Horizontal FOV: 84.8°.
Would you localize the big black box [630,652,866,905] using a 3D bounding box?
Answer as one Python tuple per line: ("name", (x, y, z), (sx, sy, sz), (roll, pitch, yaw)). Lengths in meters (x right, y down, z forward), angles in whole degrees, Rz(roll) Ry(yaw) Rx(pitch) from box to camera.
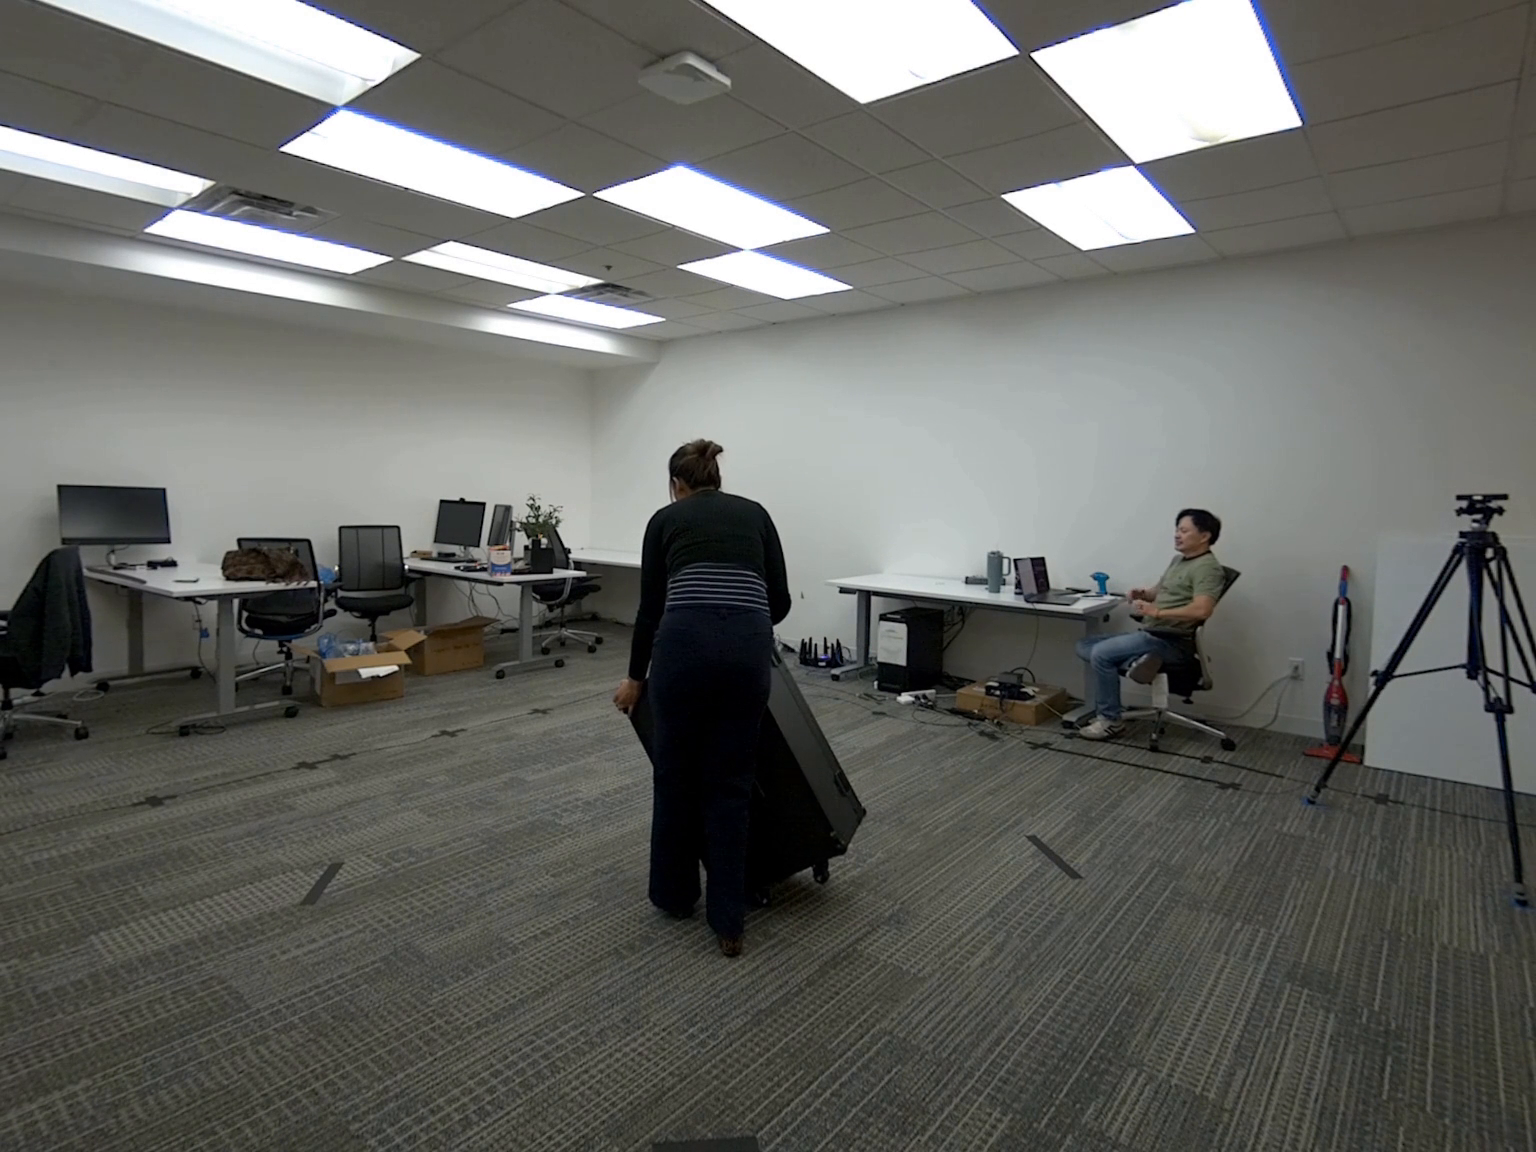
("big black box", (-0.081, 0.645, 2.960), (0.525, 0.869, 0.390), (-30, -6, 18))
